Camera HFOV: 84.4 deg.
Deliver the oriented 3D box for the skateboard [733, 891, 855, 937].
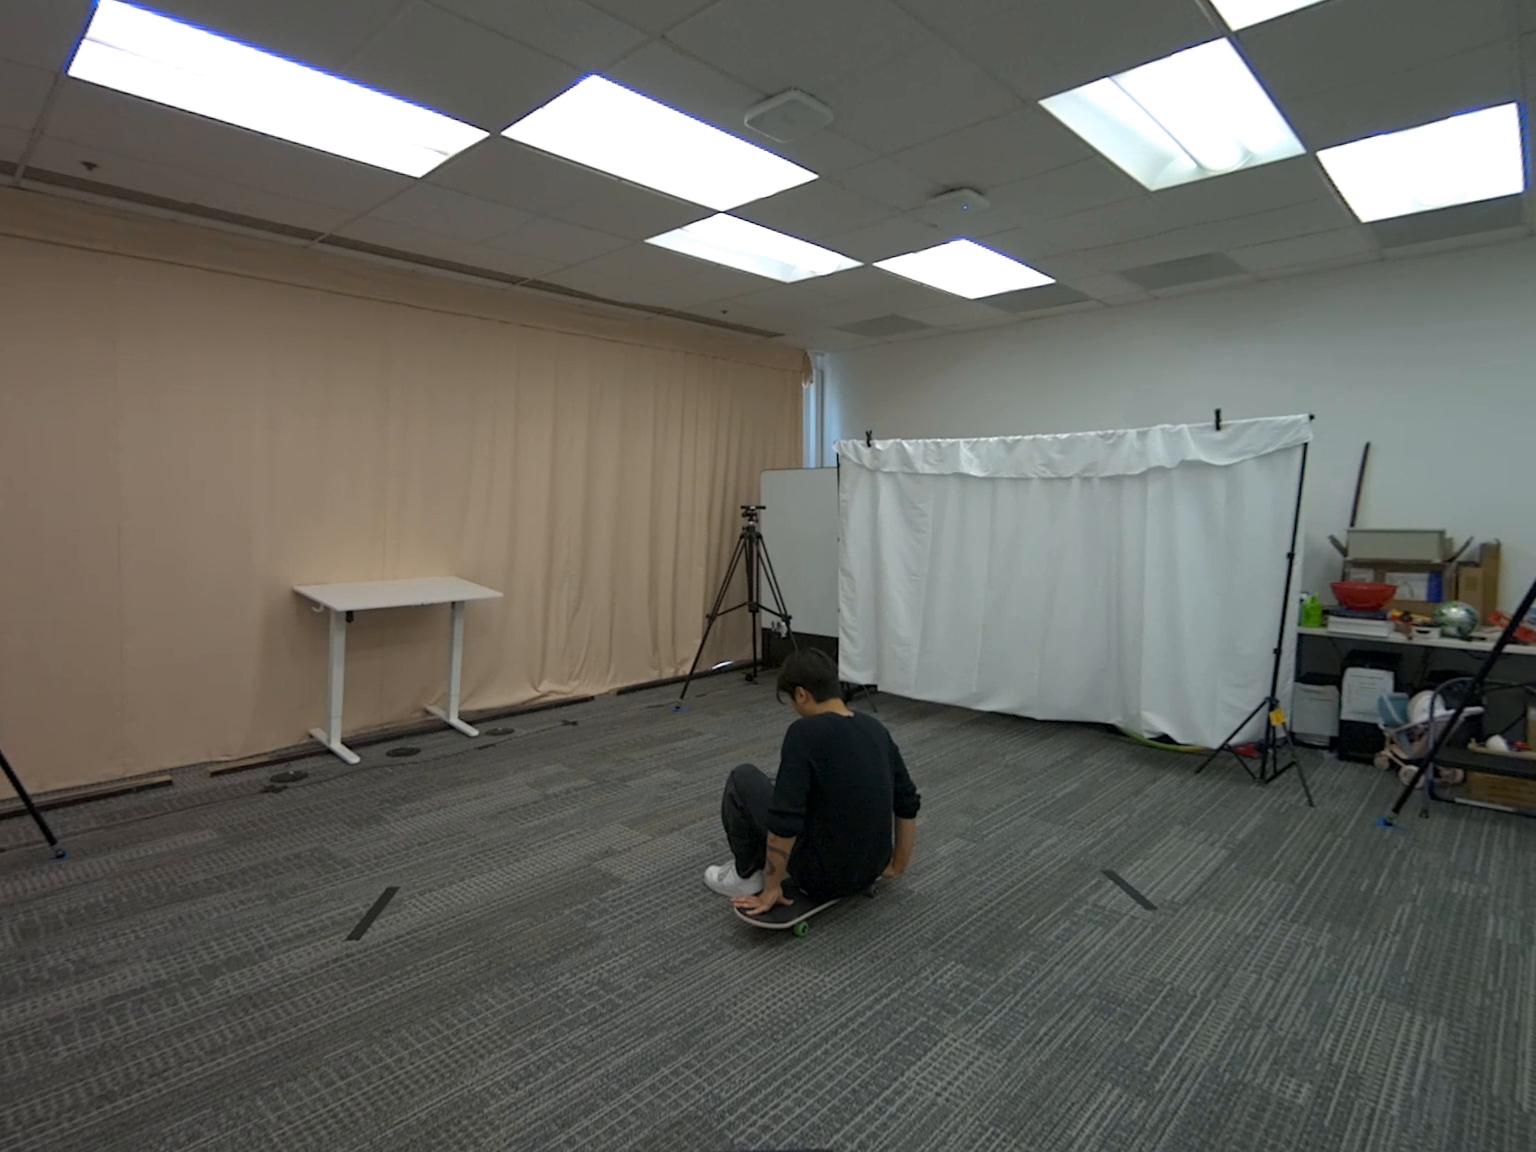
[{"bbox_3d":[0.187,1.105,2.917,0.761,0.110,0.200,-5,11,-45],"label":"skateboard"}]
